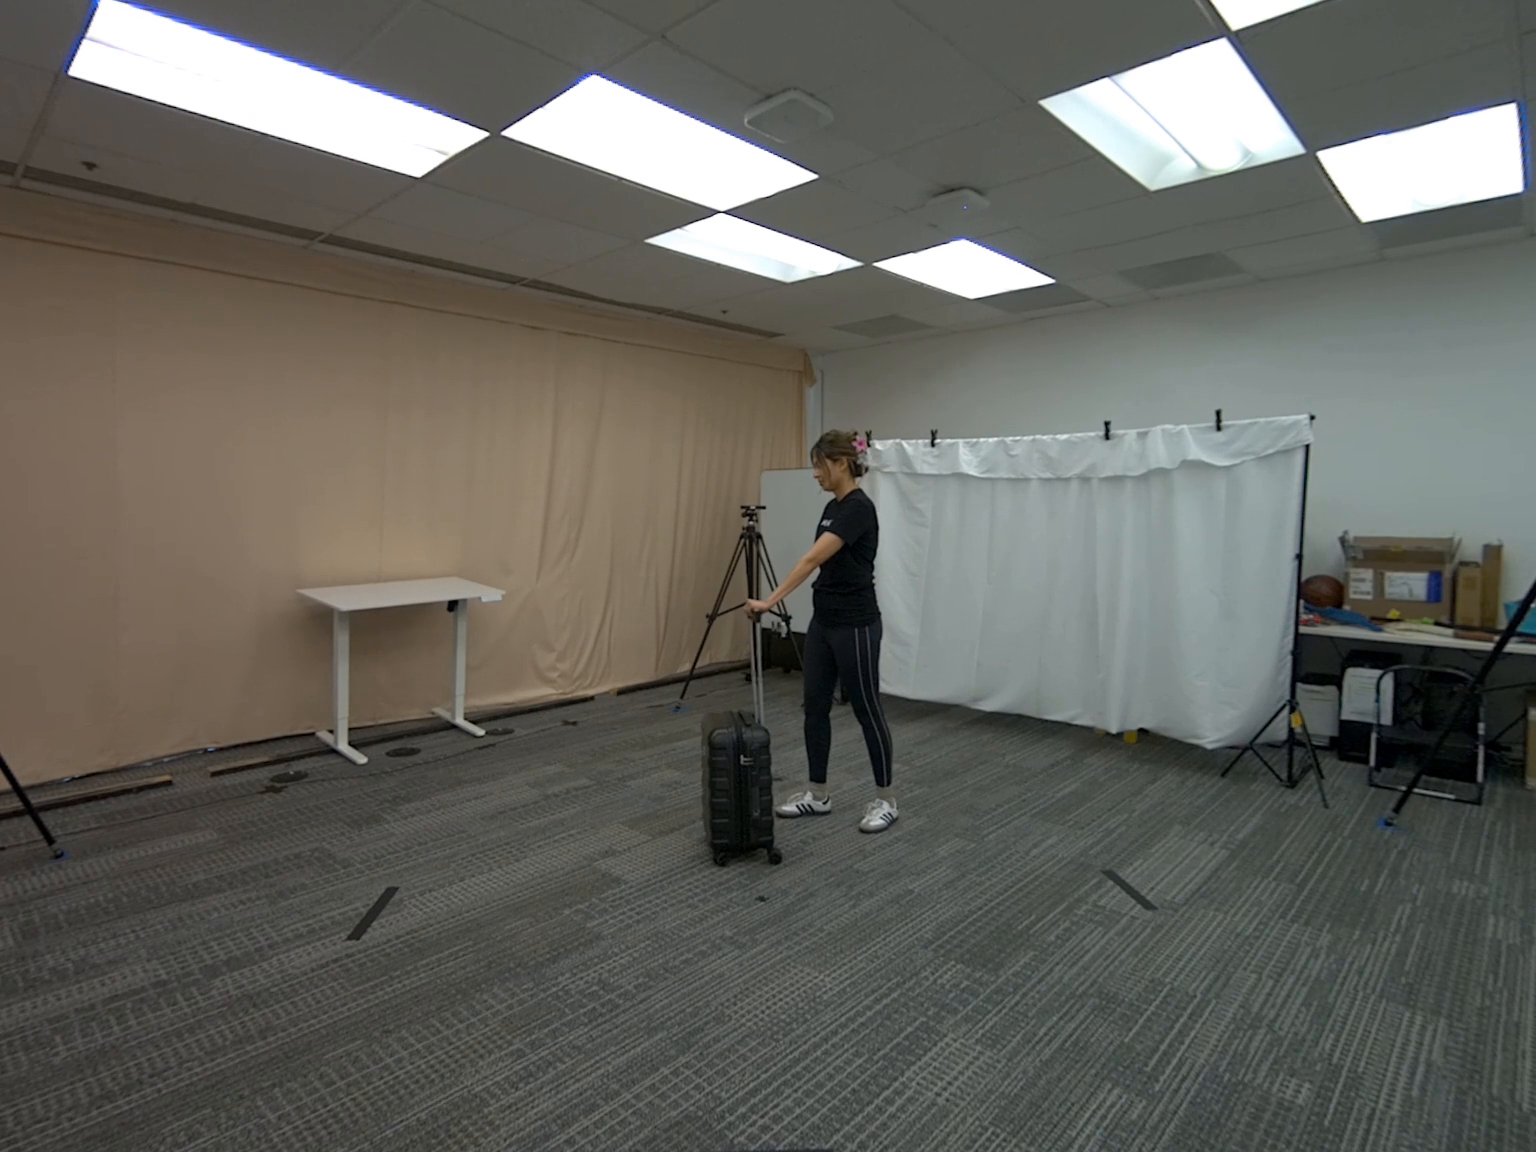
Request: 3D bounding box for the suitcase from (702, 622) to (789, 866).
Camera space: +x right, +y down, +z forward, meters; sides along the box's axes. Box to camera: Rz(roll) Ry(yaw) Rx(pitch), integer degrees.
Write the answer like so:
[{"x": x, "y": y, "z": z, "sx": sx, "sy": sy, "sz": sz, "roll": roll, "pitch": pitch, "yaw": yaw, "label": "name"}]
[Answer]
[{"x": -0.134, "y": 0.634, "z": 3.384, "sx": 0.255, "sy": 0.976, "sz": 0.388, "roll": -4, "pitch": 4, "yaw": -9, "label": "suitcase"}]
